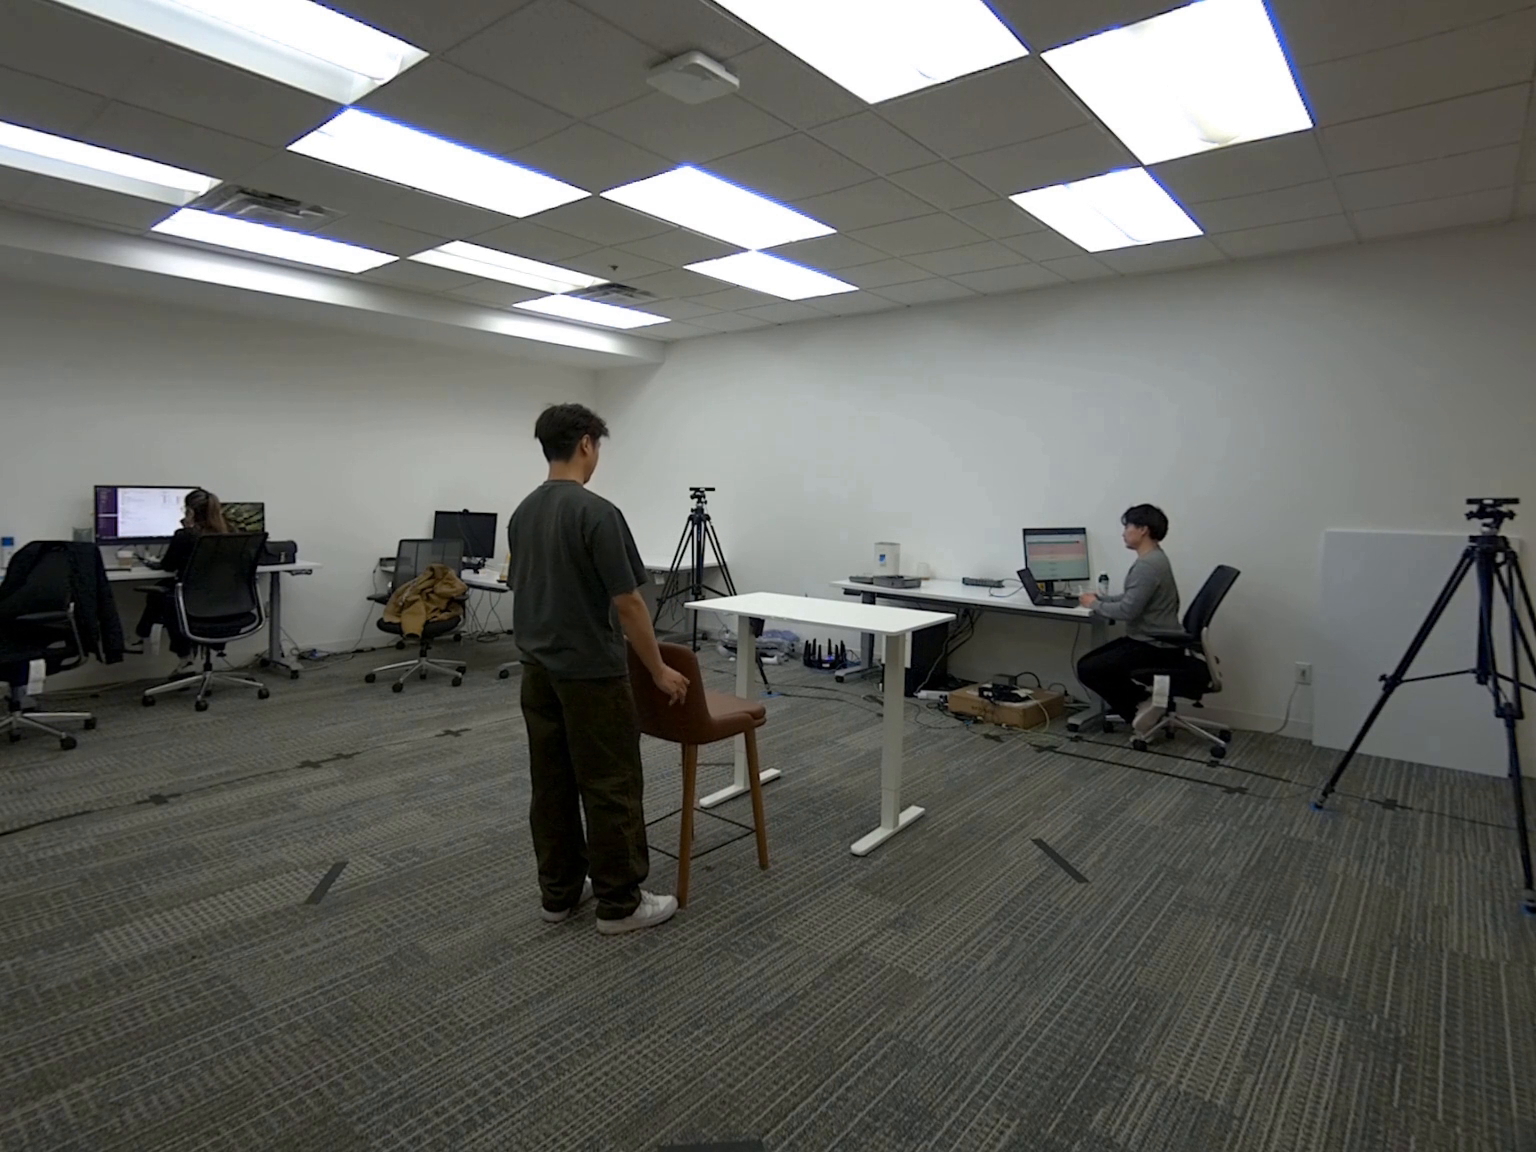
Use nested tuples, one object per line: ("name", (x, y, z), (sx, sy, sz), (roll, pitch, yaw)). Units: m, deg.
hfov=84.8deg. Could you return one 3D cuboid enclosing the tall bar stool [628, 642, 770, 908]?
("tall bar stool", (-0.297, 0.632, 3.062), (0.472, 0.886, 0.454), (3, 6, 39))
